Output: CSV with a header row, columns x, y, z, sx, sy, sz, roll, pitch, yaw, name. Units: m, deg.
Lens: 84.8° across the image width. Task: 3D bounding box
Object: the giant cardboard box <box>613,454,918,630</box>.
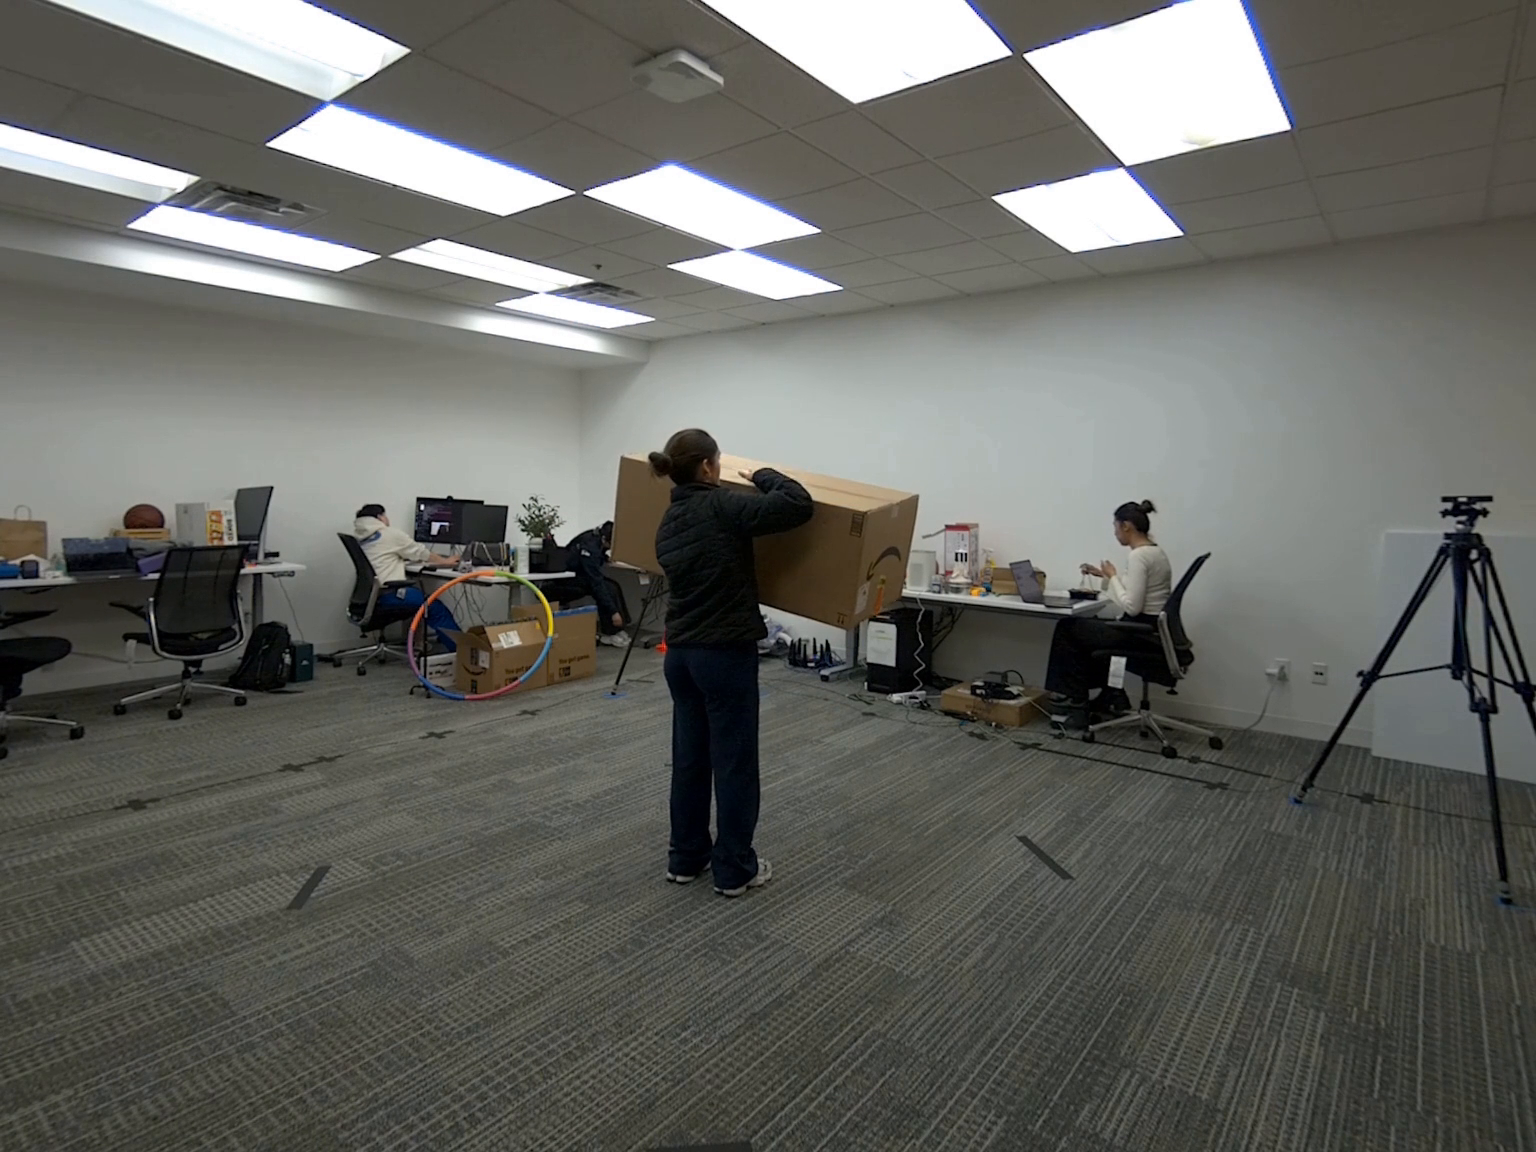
x,y,z,sx,sy,sz,roll,pitch,yaw,name
-0.007,-0.190,3.340,1.059,0.421,0.566,15,17,27,giant cardboard box
